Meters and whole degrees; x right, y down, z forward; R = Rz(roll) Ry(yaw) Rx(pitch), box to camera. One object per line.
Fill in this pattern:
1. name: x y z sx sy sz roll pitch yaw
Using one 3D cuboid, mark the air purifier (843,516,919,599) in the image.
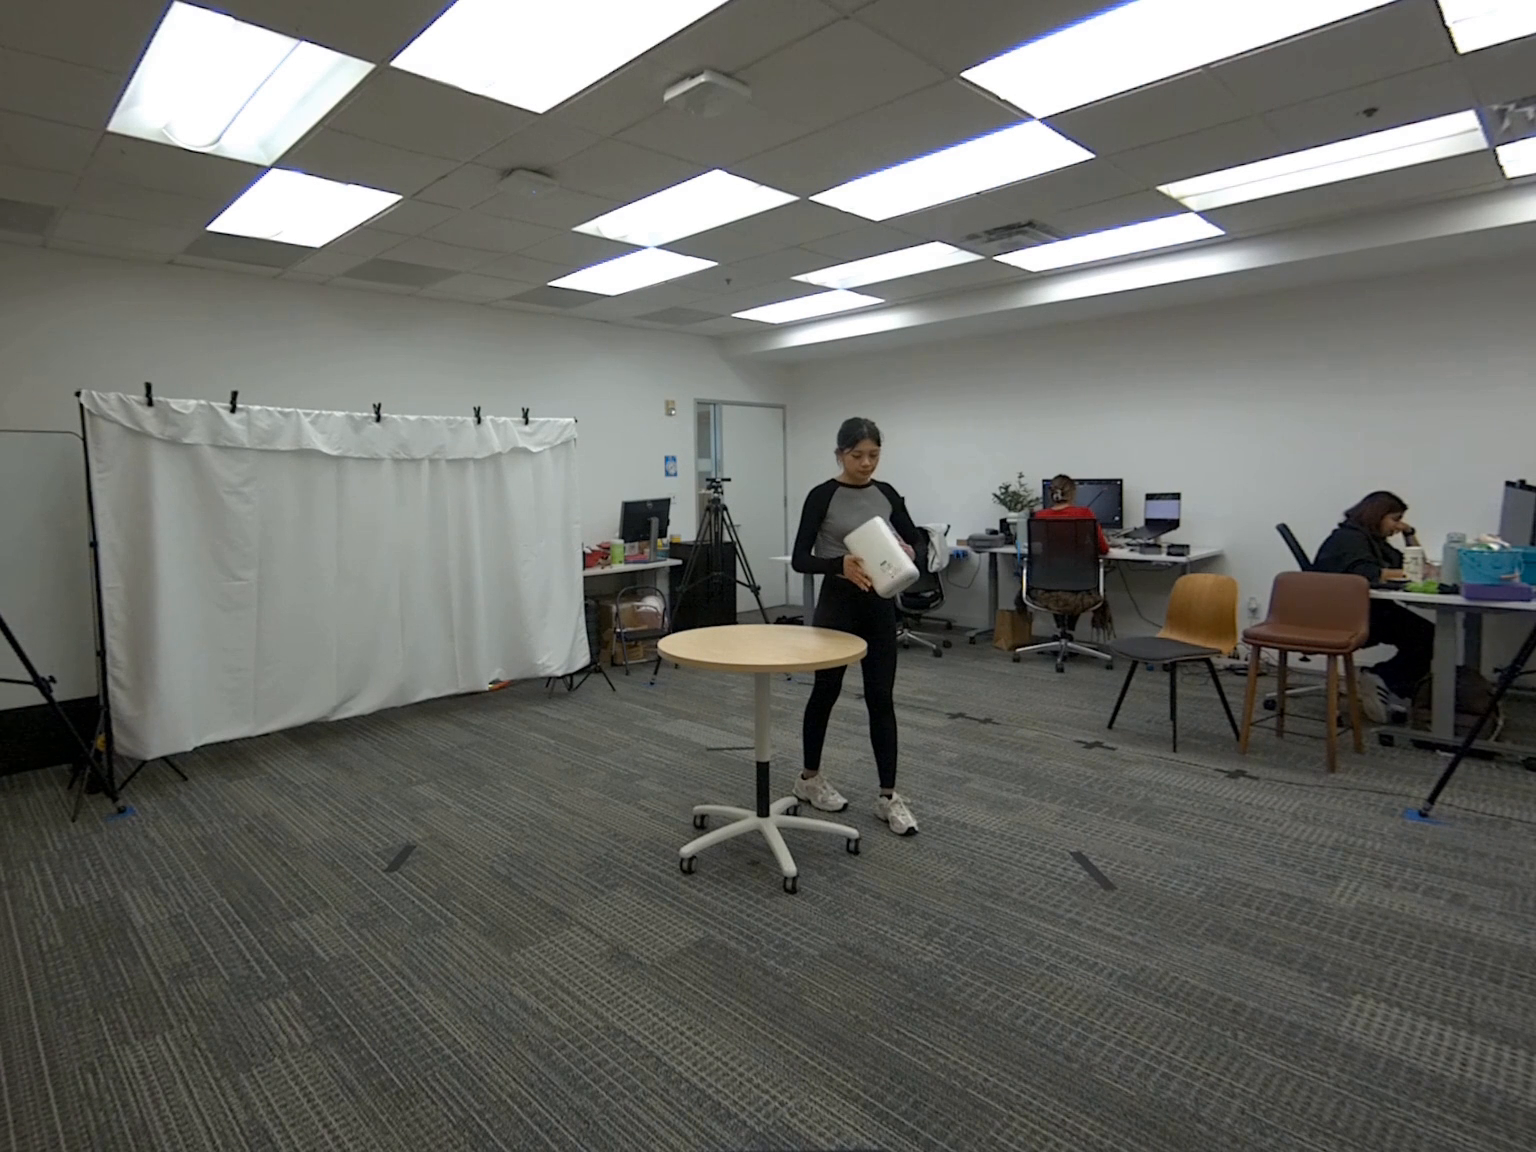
1. air purifier: 0.421 -0.062 3.233 0.171 0.272 0.167 -35 -19 11
